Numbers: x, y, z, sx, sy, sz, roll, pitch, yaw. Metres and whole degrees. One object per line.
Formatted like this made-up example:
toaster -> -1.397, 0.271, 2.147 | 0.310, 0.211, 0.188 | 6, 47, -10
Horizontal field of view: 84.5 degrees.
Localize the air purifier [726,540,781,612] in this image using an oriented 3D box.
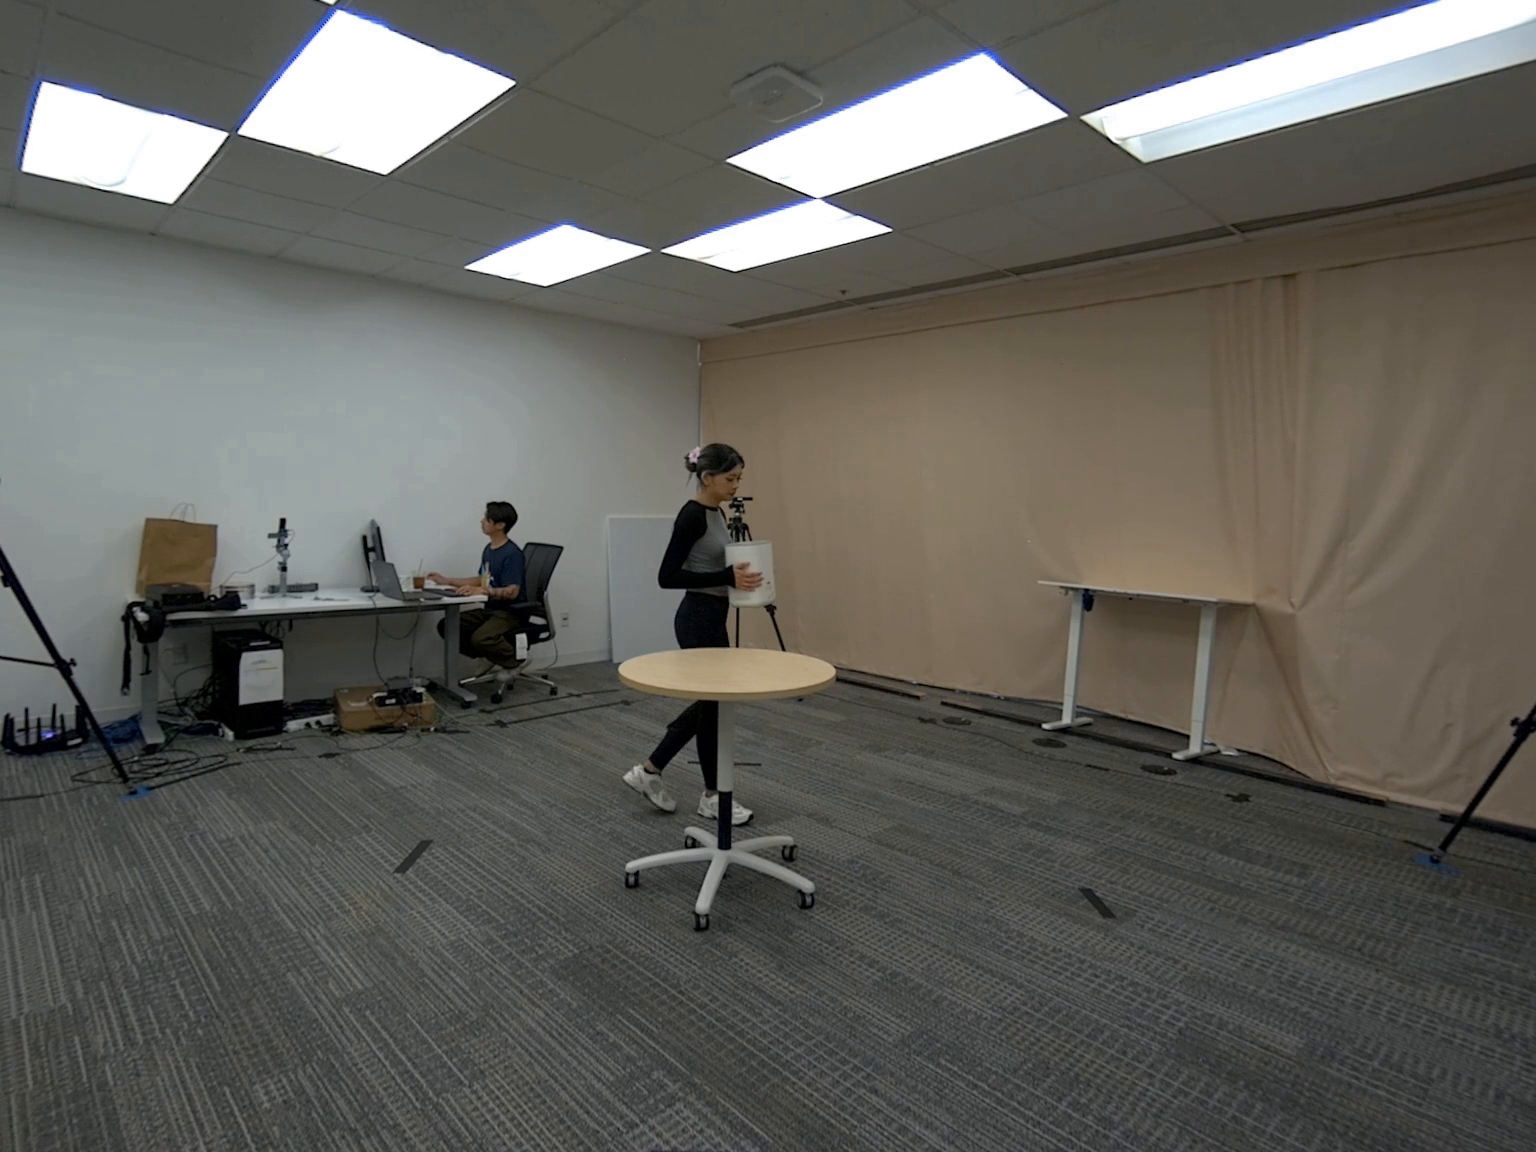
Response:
air purifier -> -0.072, -0.004, 3.514 | 0.174, 0.264, 0.169 | -4, 4, 23
